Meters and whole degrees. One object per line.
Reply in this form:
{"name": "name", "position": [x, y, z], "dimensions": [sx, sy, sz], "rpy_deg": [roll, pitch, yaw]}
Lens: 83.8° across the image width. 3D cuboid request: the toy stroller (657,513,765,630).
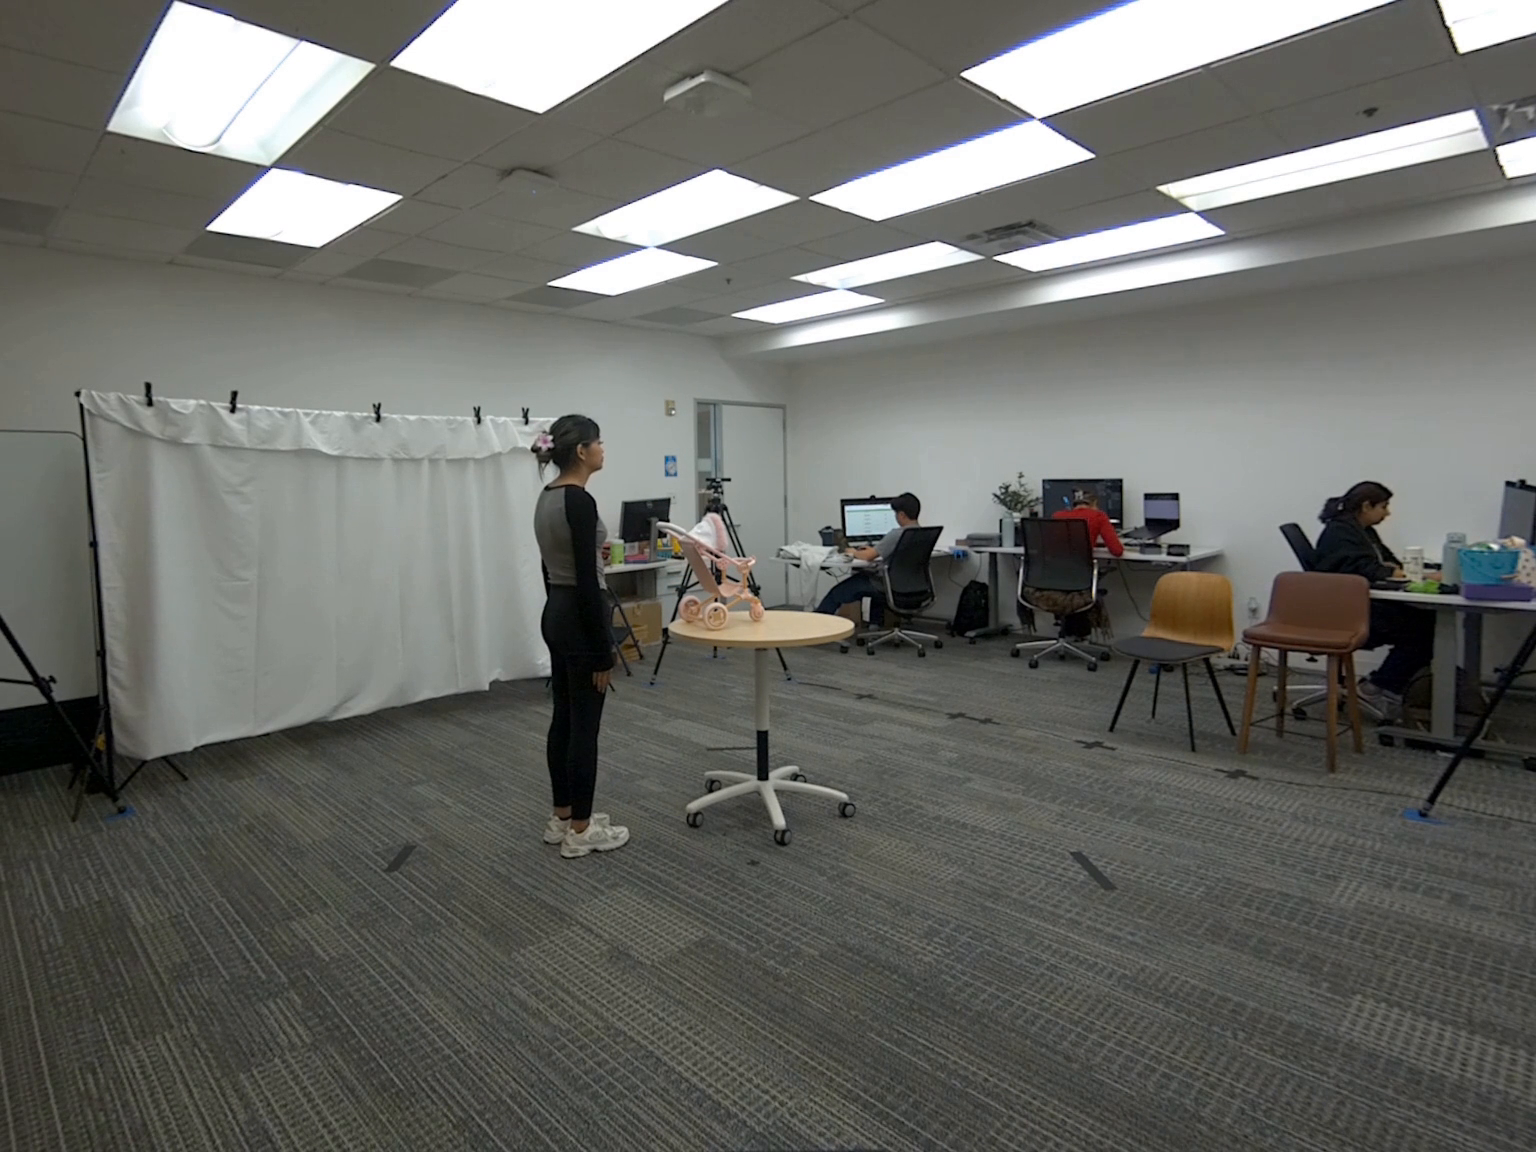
{"name": "toy stroller", "position": [-0.218, -0.021, 3.525], "dimensions": [0.337, 0.529, 0.288], "rpy_deg": [-20, 11, -22]}
